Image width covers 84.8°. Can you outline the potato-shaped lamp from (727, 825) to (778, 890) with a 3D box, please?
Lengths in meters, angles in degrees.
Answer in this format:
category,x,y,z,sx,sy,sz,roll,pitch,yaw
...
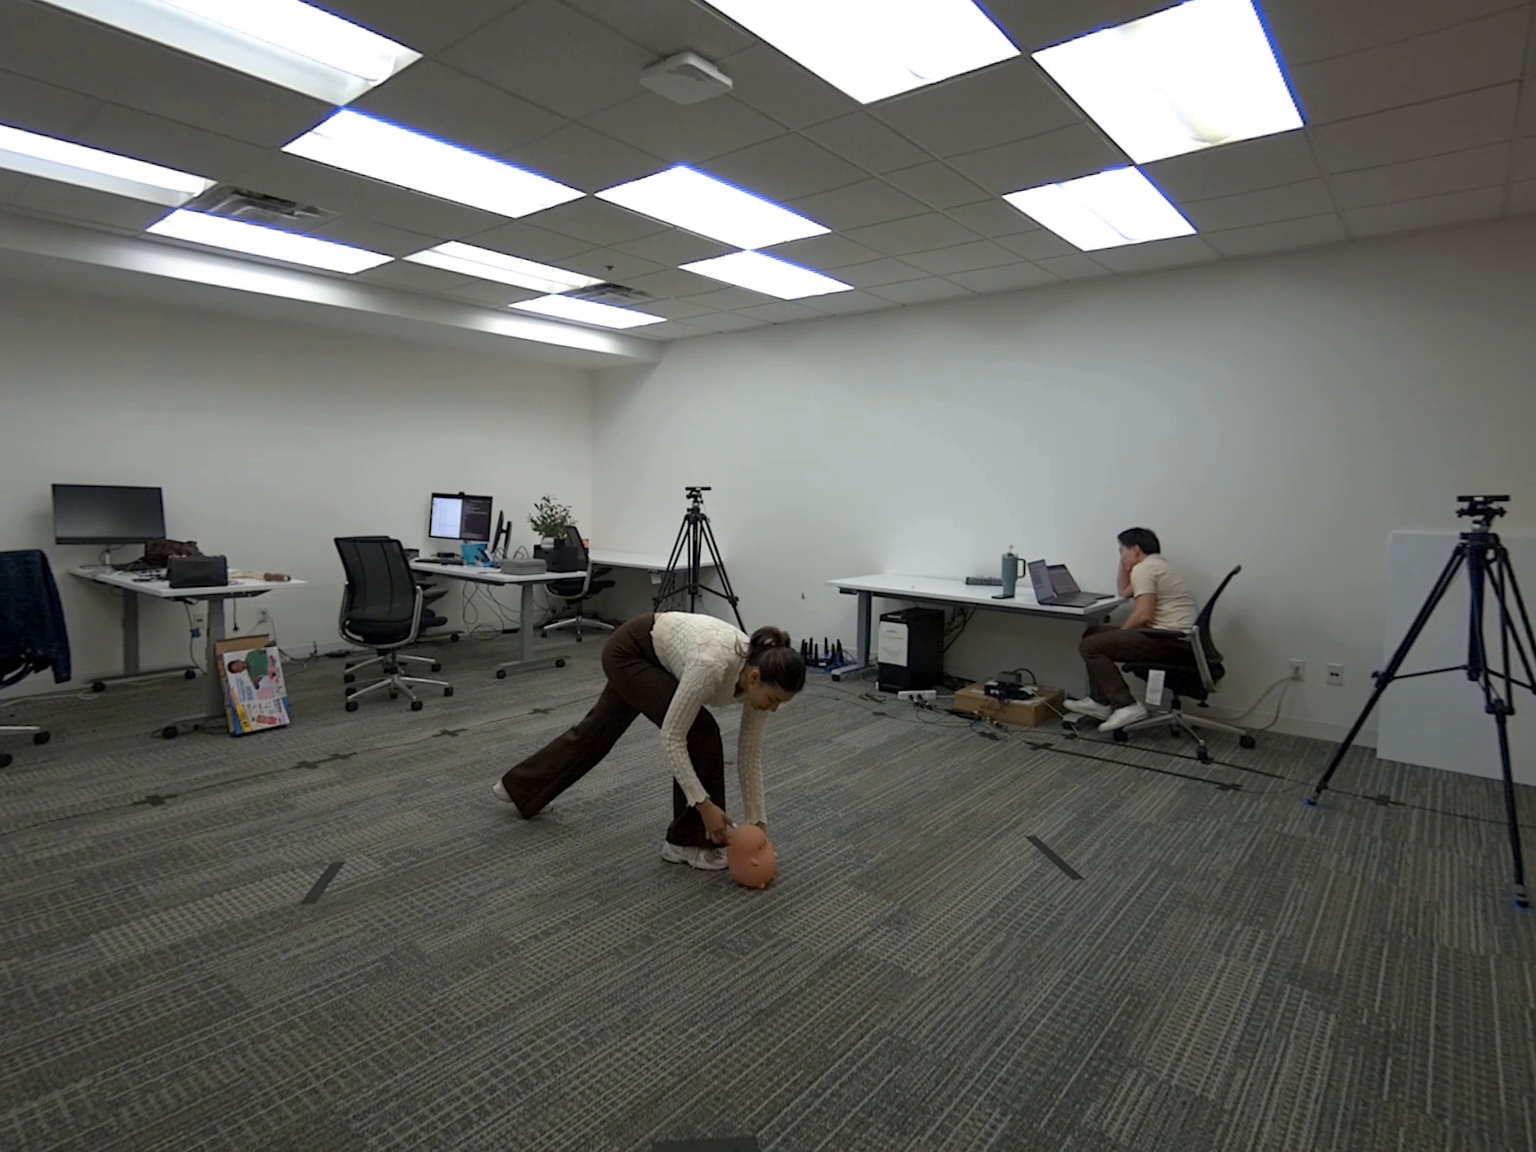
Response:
category,x,y,z,sx,sy,sz,roll,pitch,yaw
potato-shaped lamp,-0.071,0.970,3.008,0.176,0.196,0.162,-5,9,29
